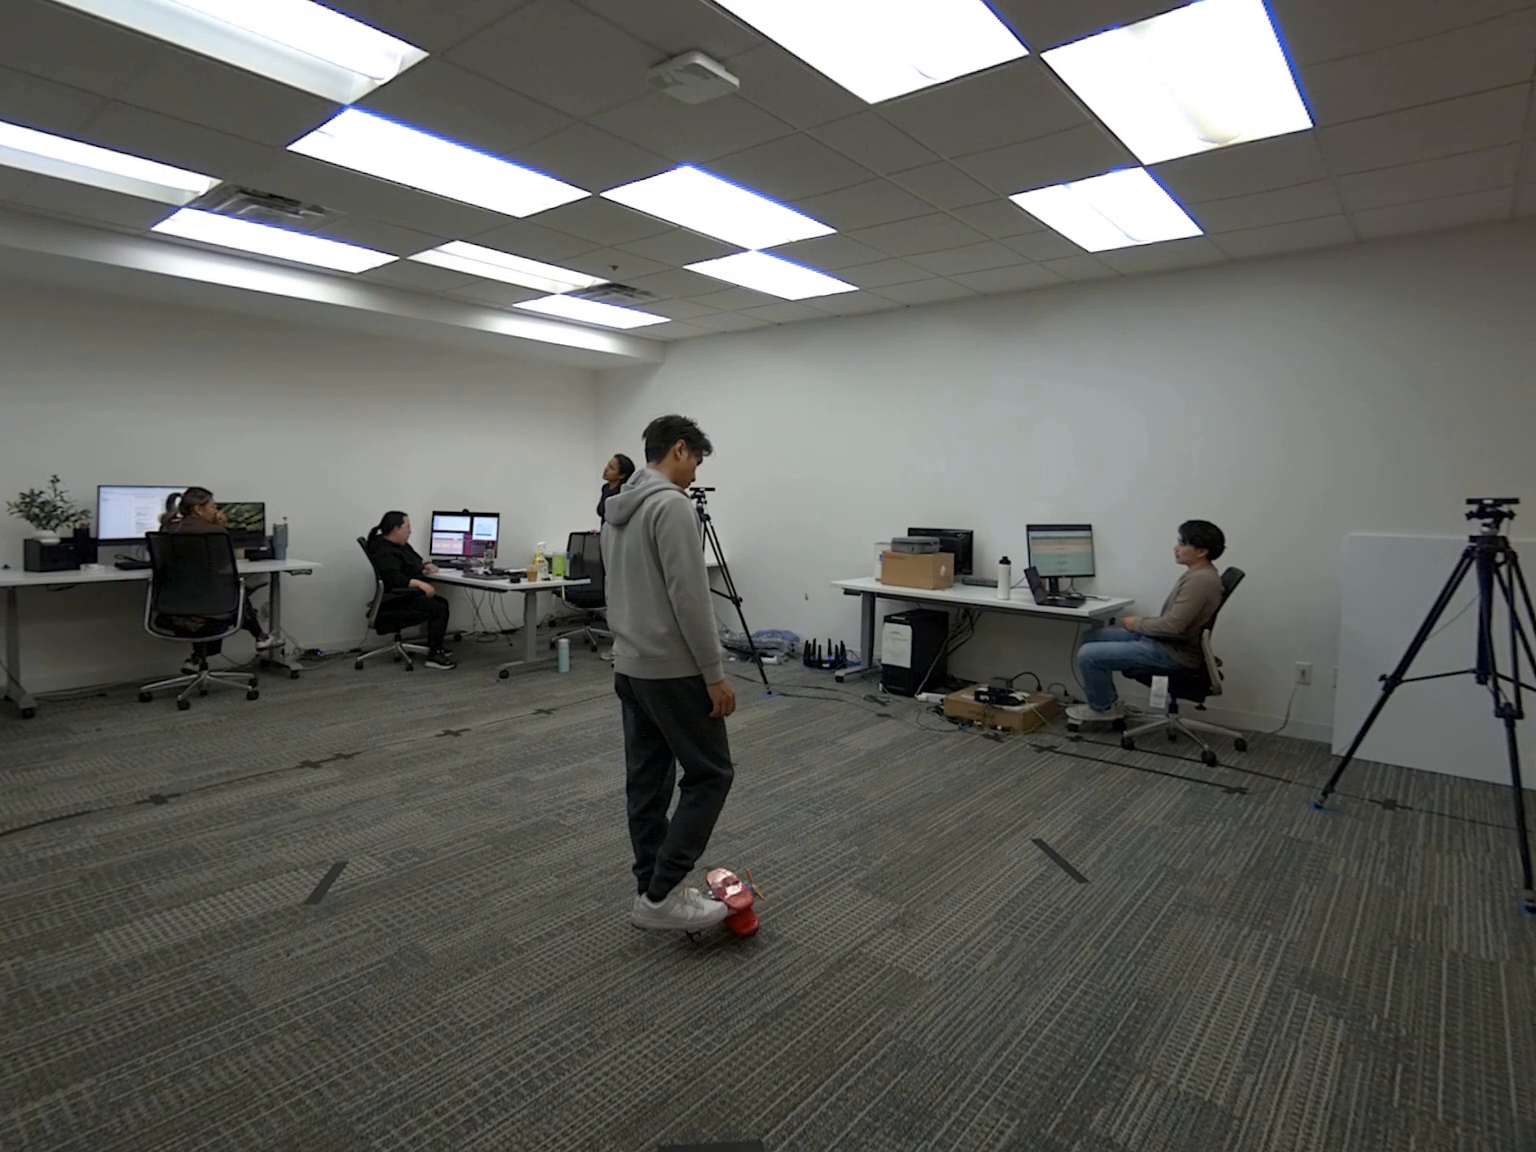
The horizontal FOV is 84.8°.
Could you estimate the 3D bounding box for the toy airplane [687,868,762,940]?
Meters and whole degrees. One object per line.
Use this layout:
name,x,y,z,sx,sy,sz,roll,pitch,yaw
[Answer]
toy airplane,-0.145,1.042,2.643,0.259,0.156,0.251,6,6,39
